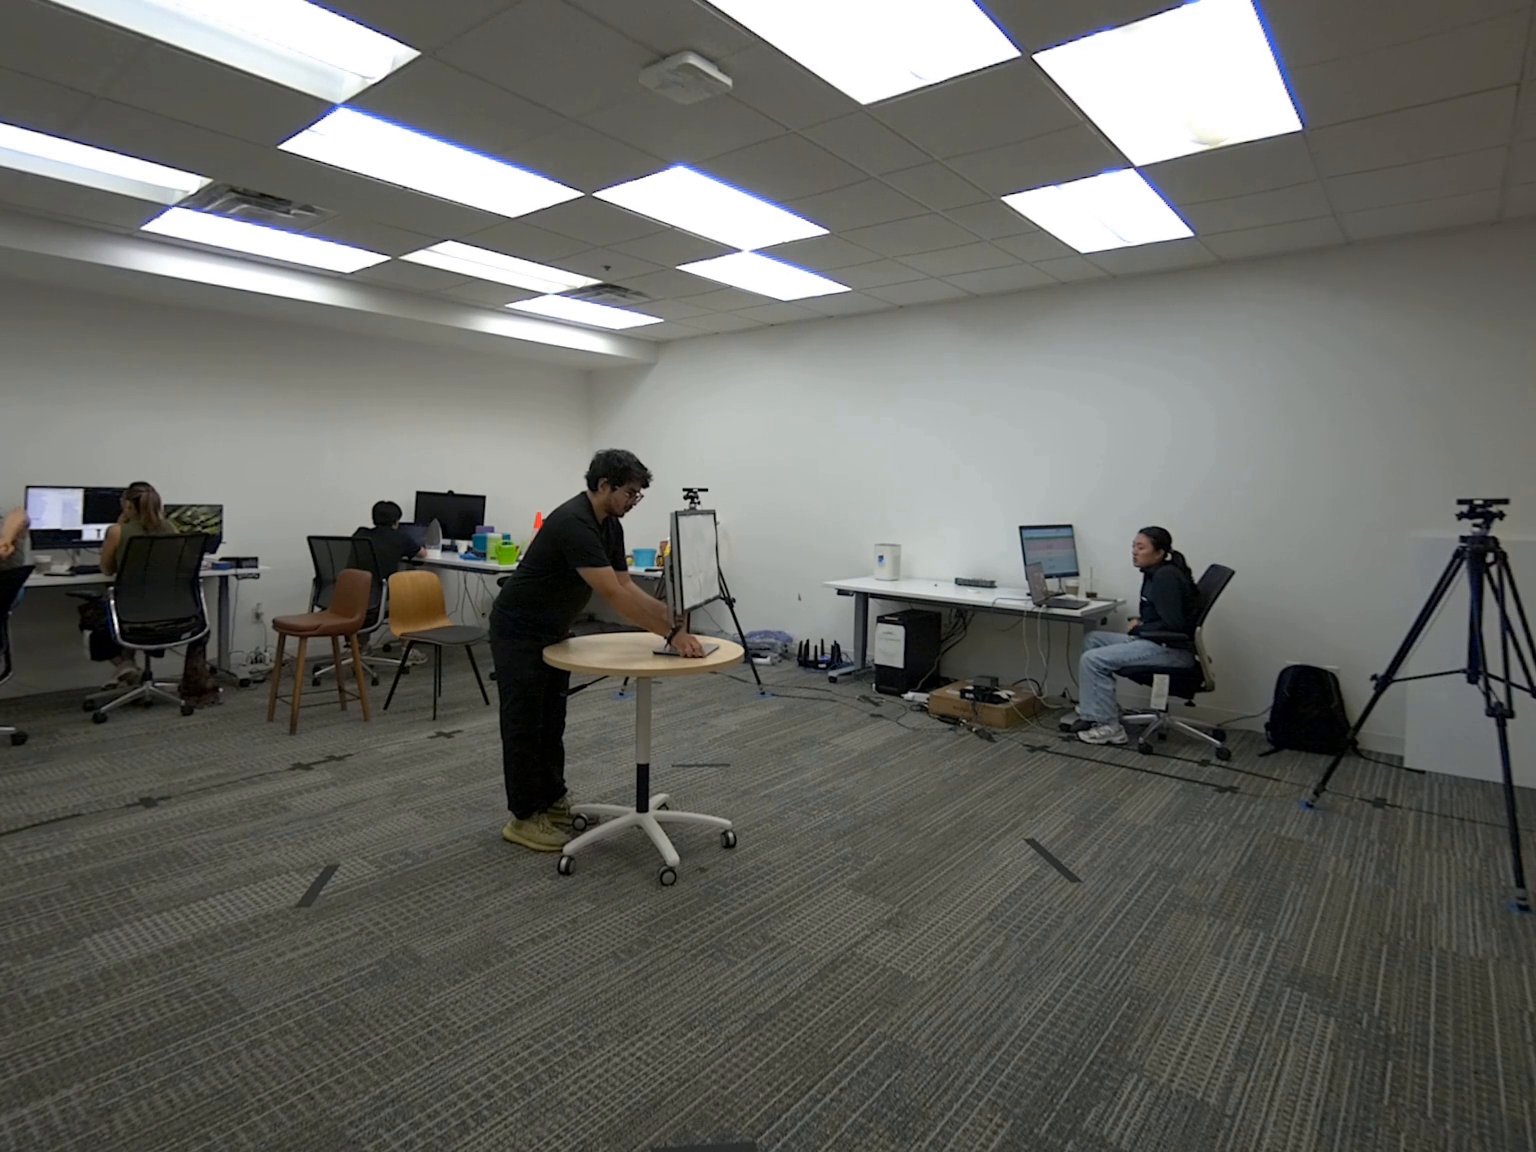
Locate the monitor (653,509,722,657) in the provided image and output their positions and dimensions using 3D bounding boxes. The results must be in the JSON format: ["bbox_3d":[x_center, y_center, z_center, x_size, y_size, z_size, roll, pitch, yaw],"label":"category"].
[{"bbox_3d":[-0.336,0.021,3.232,0.213,0.552,0.559,-1,3,12],"label":"monitor"}]
